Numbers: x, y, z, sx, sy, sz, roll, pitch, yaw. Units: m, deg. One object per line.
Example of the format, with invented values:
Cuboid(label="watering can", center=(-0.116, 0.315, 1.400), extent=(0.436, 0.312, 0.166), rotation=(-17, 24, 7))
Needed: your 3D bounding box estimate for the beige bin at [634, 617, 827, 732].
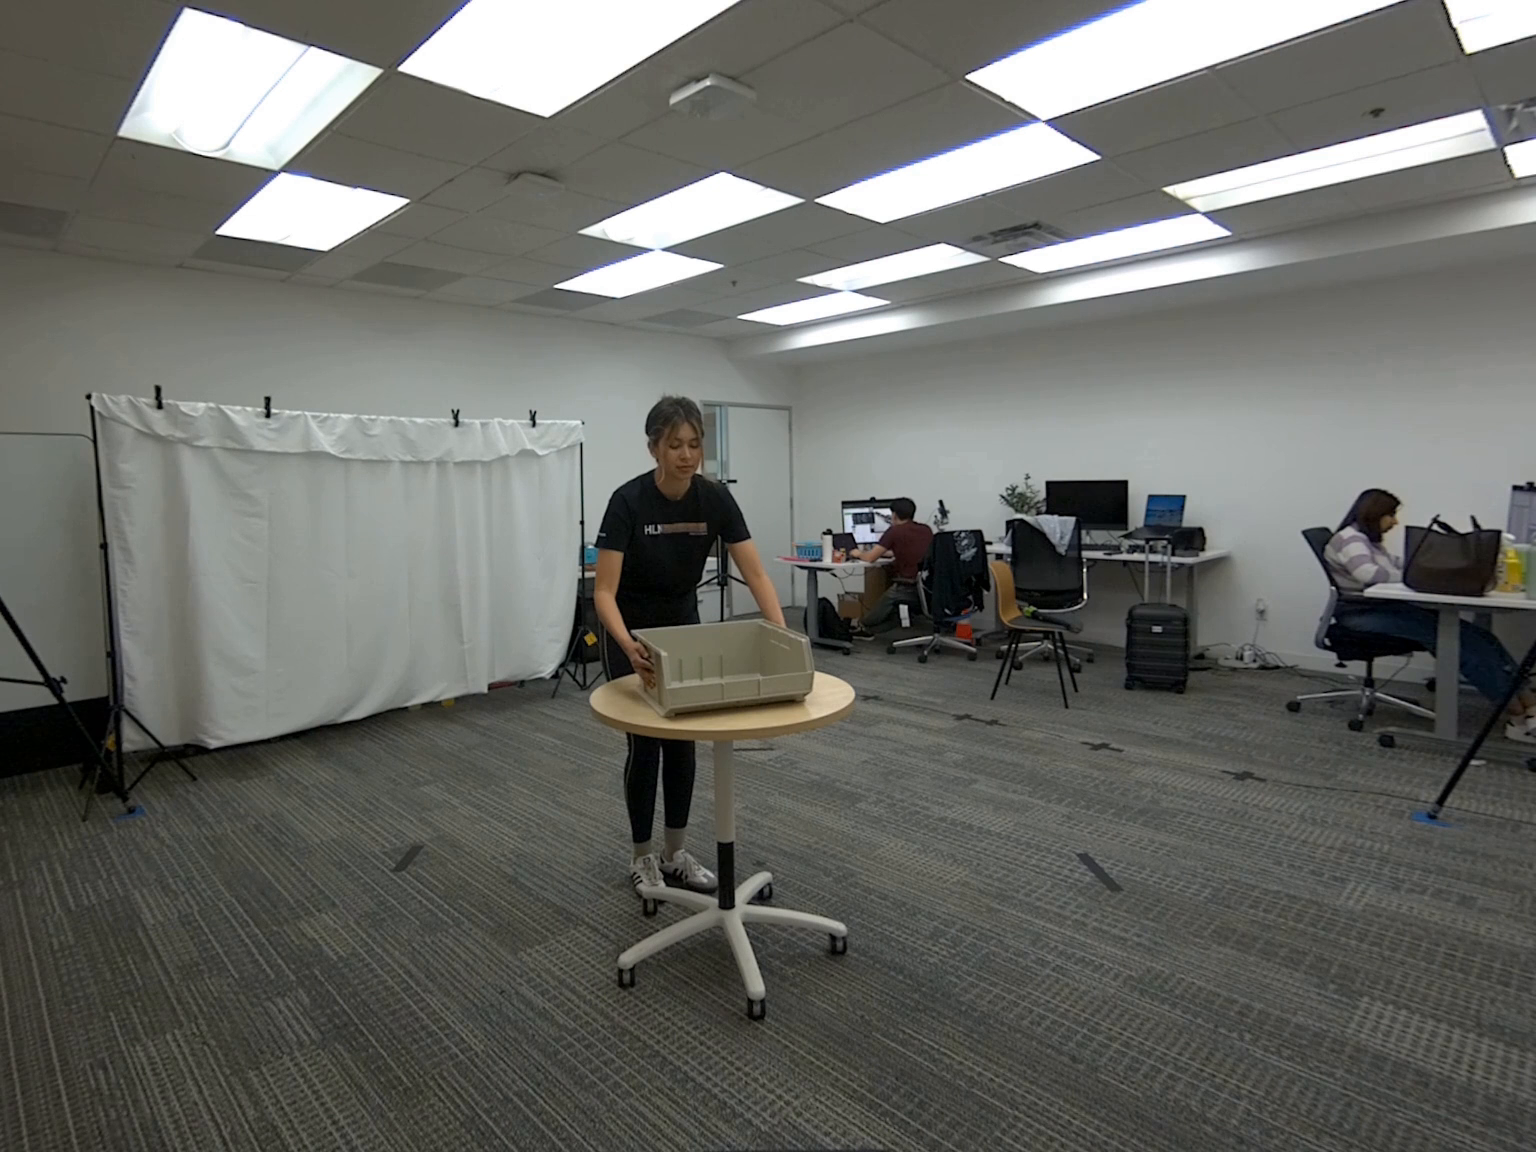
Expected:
Cuboid(label="beige bin", center=(-0.121, 0.259, 2.411), extent=(0.415, 0.188, 0.386), rotation=(-7, 6, -22))
